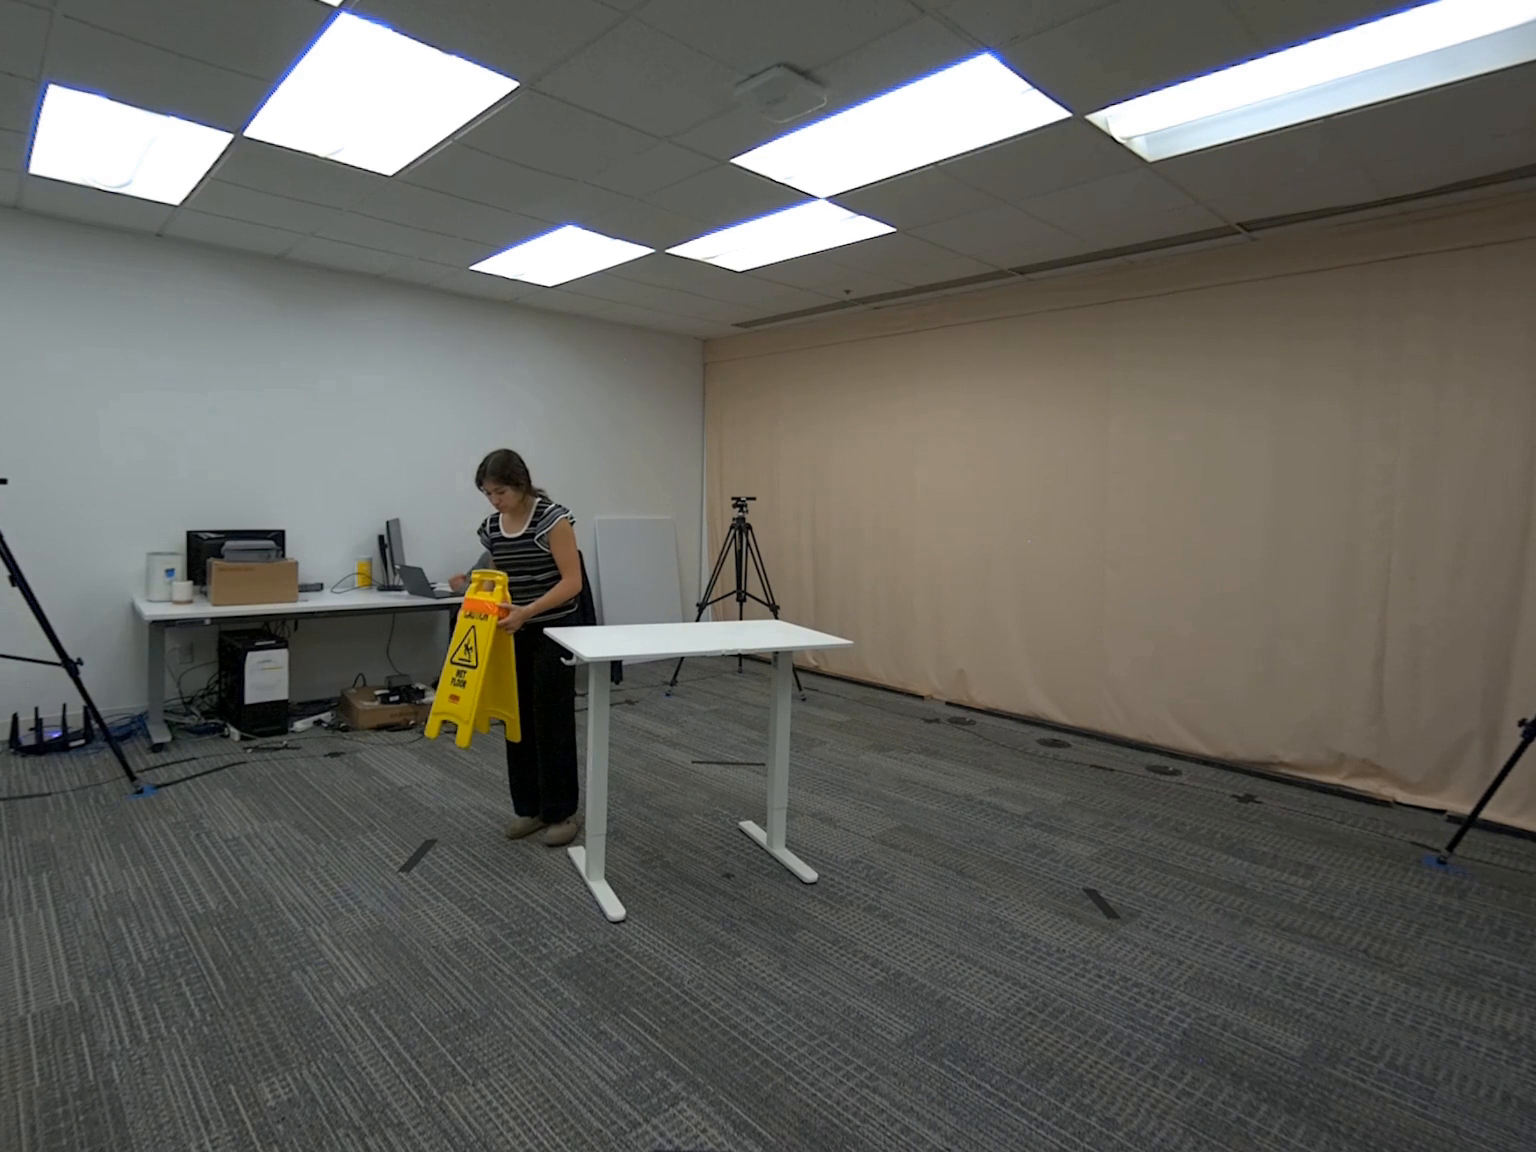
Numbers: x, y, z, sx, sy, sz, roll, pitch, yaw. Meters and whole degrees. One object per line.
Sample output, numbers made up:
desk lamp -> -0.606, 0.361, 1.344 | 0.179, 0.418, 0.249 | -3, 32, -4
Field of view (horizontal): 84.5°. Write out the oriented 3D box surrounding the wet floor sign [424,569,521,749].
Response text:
wet floor sign -> -1.120, 0.310, 3.264 | 0.289, 0.647, 0.282 | 2, -4, 36
